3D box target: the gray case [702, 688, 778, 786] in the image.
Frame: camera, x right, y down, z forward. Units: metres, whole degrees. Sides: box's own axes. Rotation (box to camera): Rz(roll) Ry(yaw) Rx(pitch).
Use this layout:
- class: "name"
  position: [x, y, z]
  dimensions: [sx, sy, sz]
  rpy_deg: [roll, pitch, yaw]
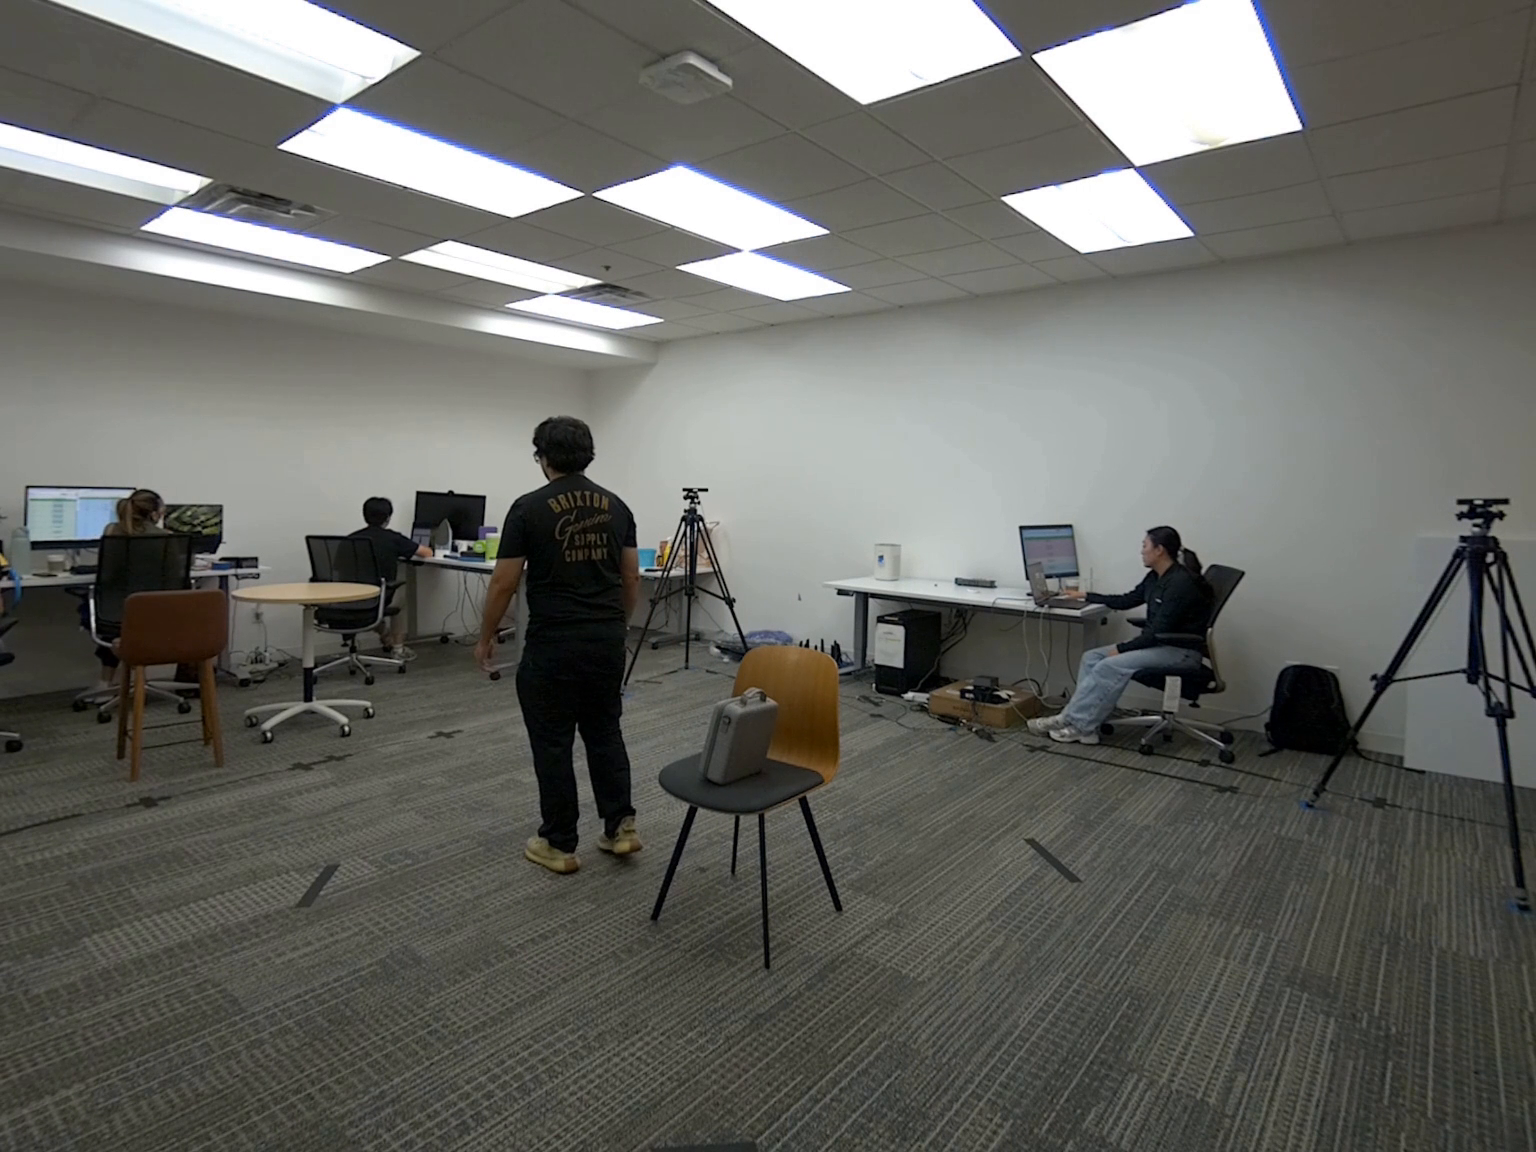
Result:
- class: "gray case"
  position: [-0.099, 0.506, 2.700]
  dimensions: [0.108, 0.259, 0.249]
  rpy_deg: [17, 9, 33]
